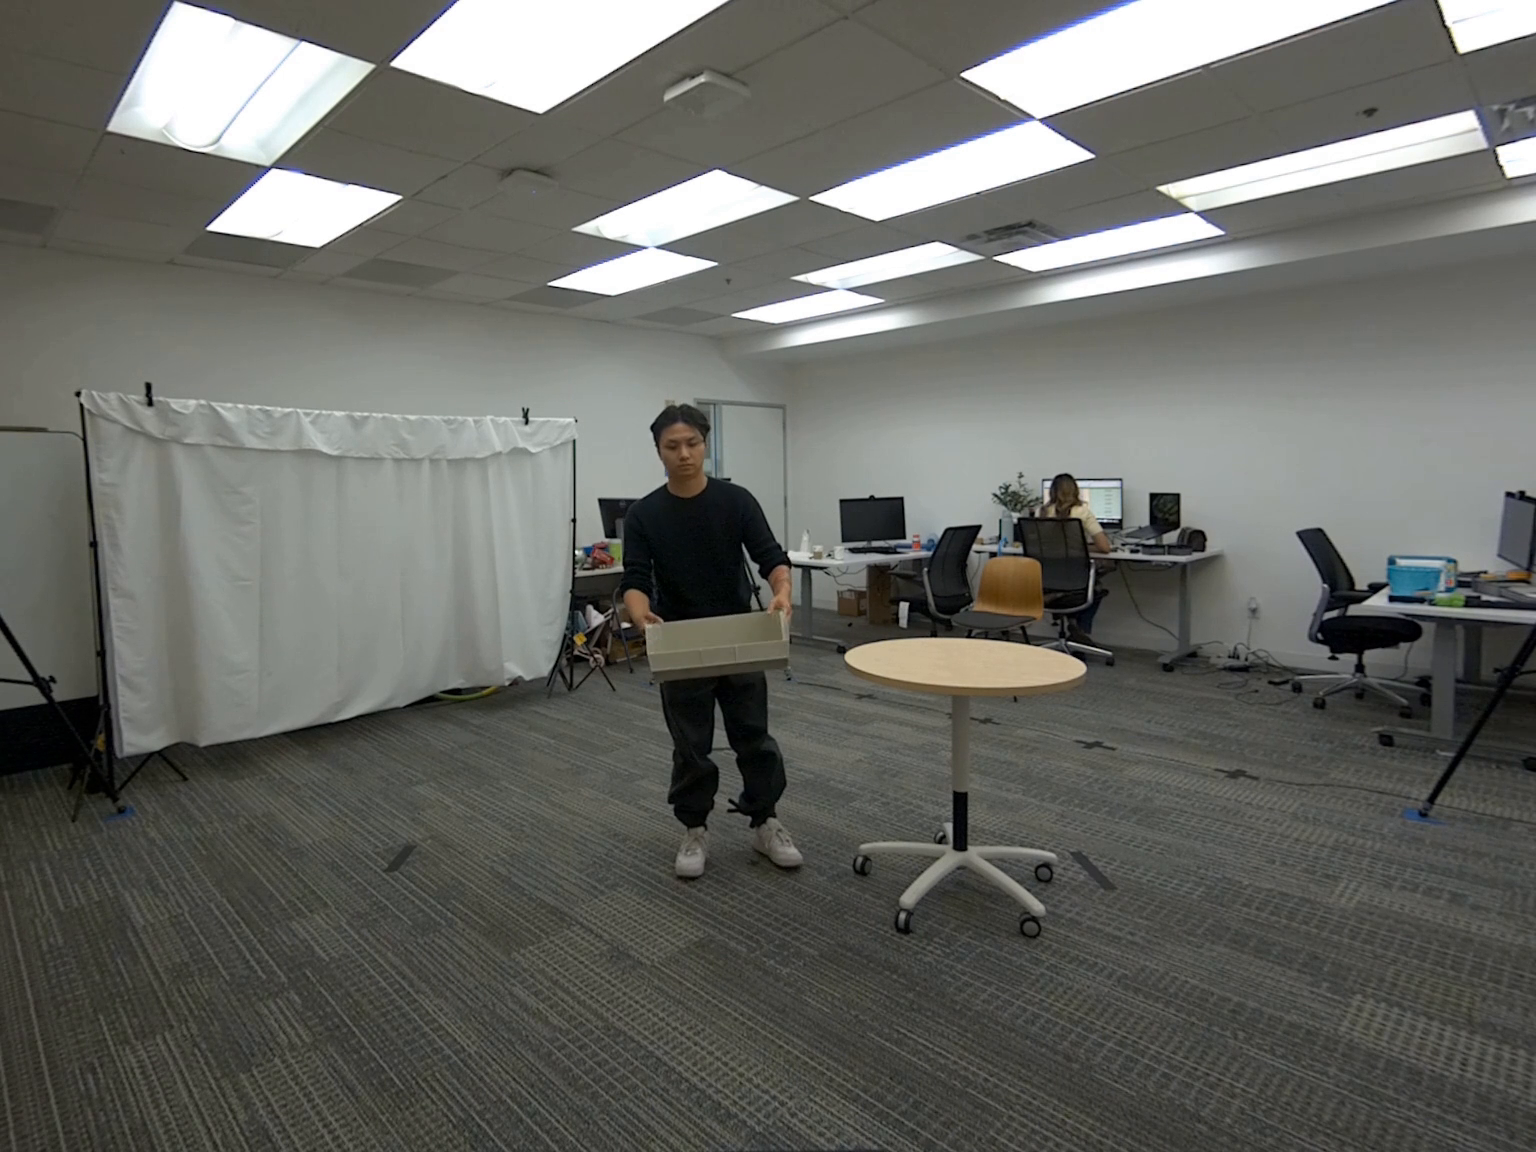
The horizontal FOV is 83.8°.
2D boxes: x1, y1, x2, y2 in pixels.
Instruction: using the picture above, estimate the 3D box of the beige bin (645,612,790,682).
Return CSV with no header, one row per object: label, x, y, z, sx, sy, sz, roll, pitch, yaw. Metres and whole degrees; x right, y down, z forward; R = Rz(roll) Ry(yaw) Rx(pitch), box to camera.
beige bin,-0.152,0.223,2.663,0.422,0.190,0.376,-7,-4,-2
